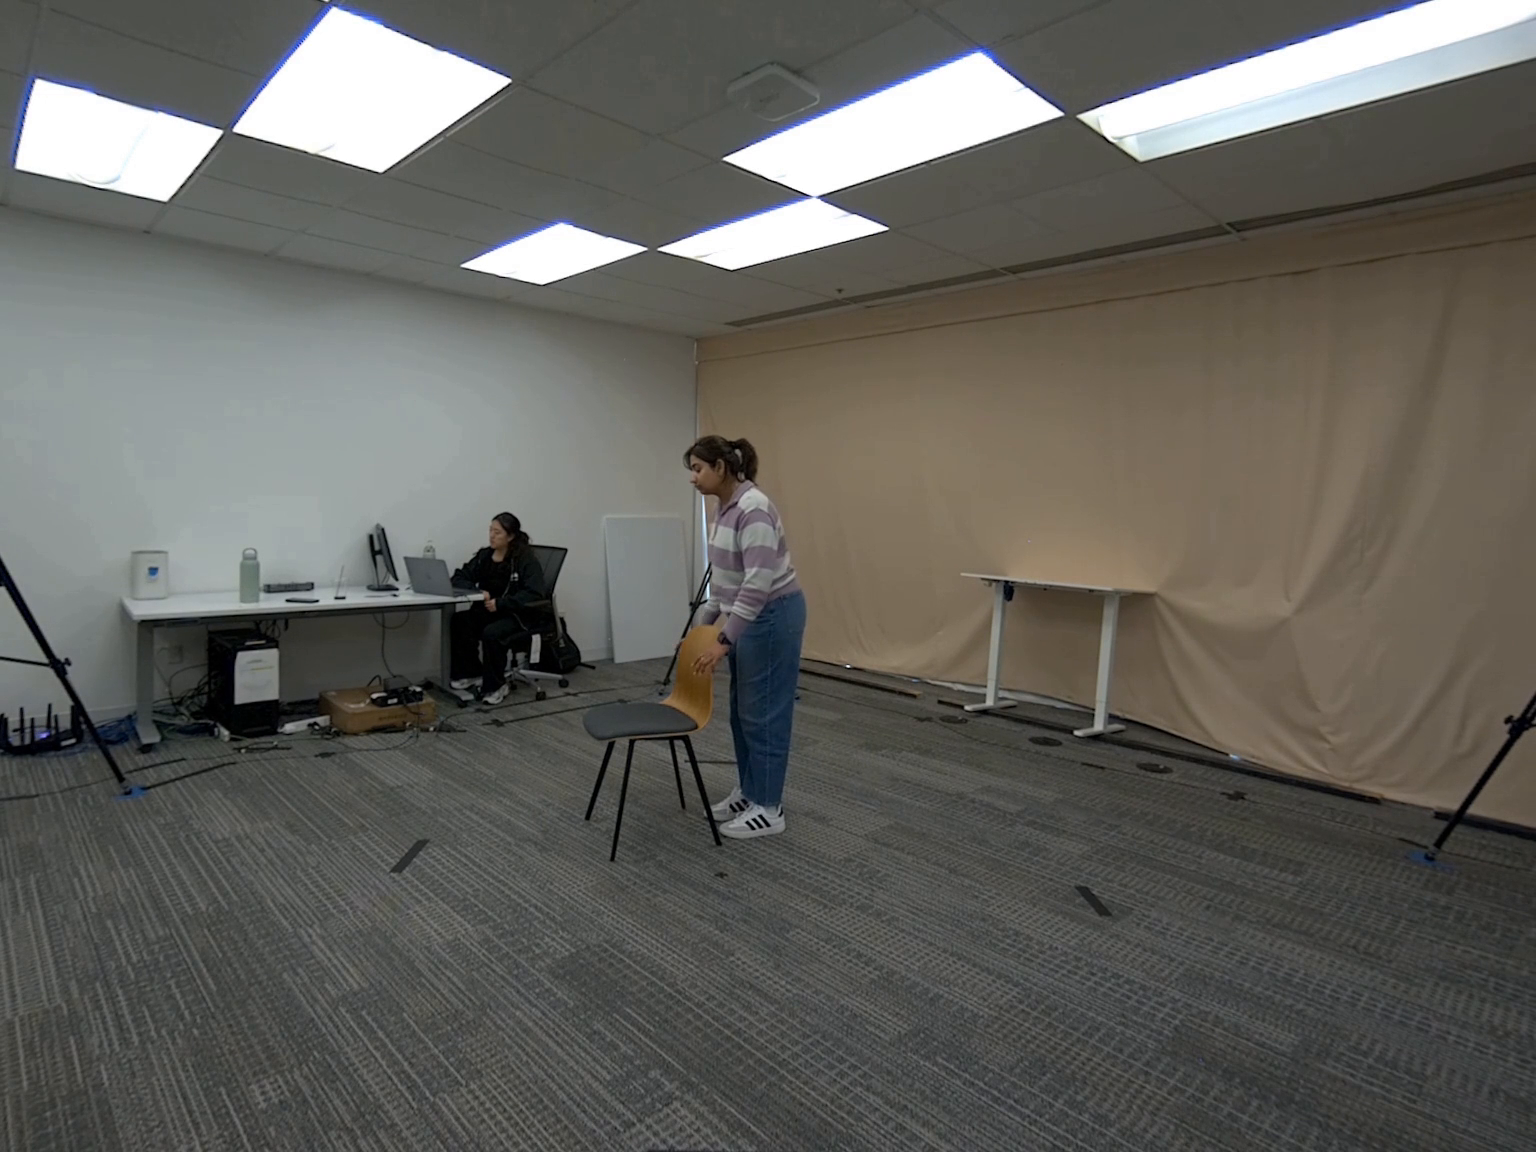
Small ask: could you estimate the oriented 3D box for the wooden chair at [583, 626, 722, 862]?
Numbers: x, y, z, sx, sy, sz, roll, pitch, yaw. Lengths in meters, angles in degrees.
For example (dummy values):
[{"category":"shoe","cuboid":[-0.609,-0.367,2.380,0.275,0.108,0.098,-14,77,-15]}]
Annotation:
[{"category":"wooden chair","cuboid":[-0.486,0.636,3.448,0.513,0.876,0.487,5,2,-24]}]
